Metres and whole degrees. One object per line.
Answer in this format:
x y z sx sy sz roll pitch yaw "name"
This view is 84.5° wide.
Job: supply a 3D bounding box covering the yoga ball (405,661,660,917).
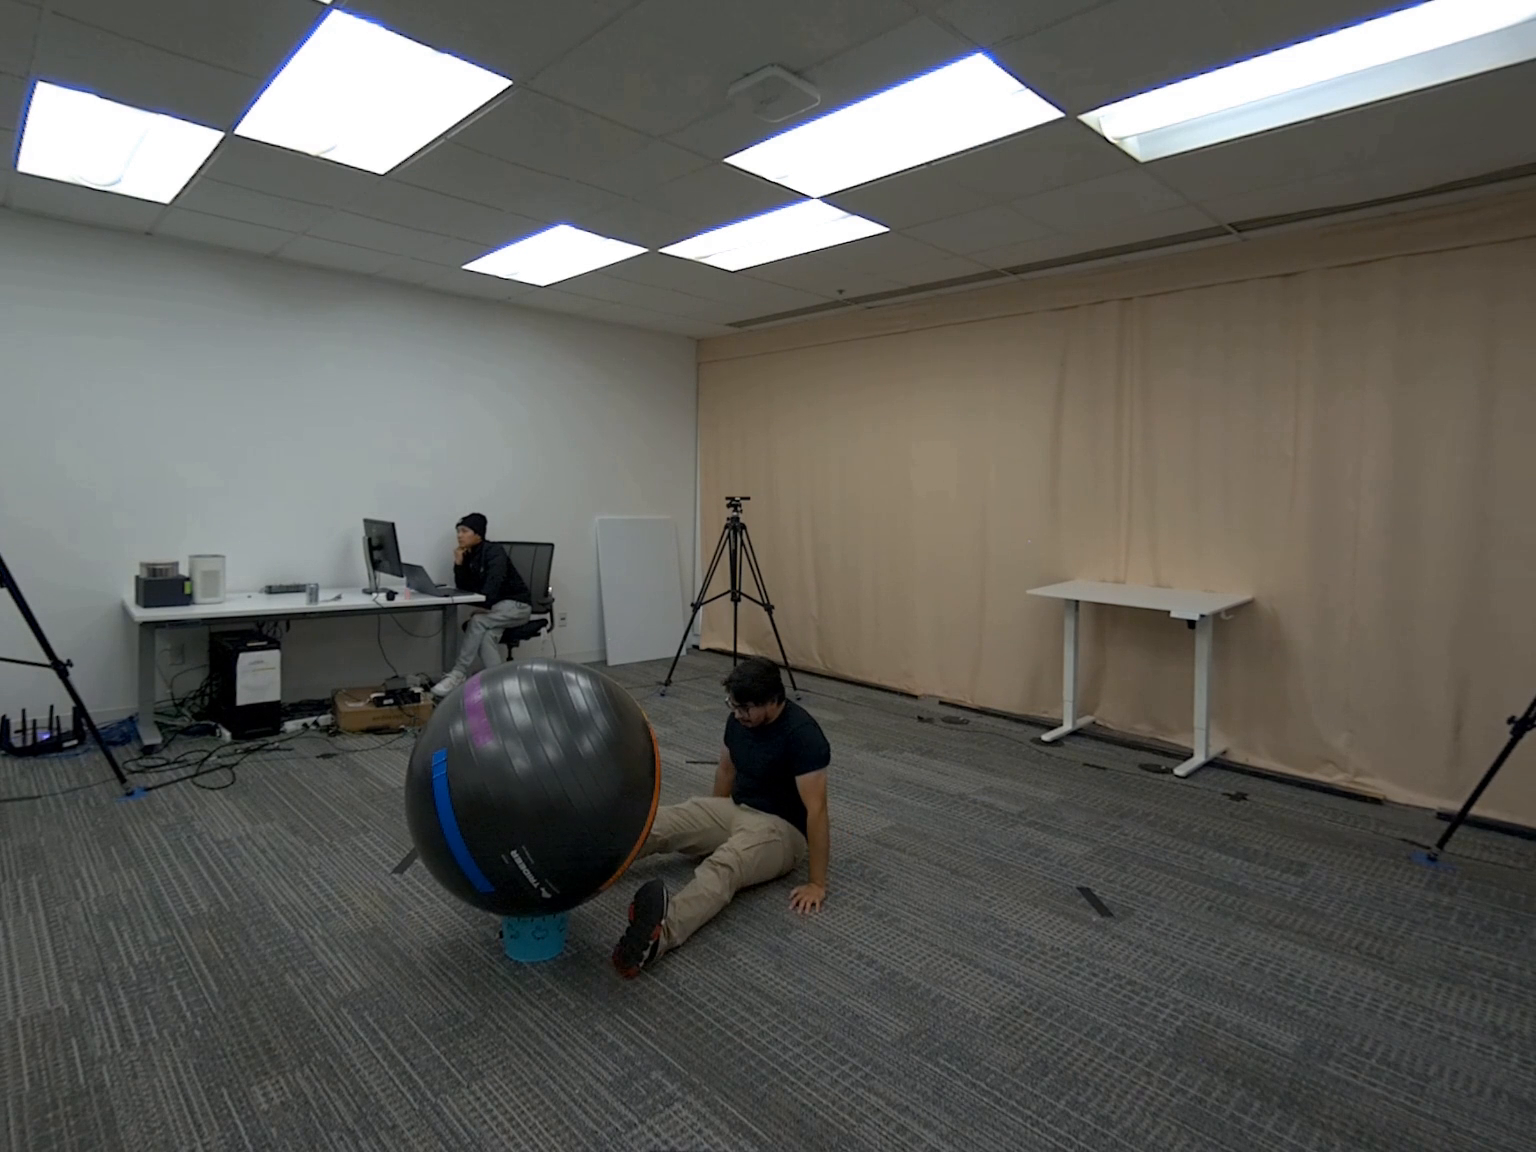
-0.713 0.637 2.567 0.757 0.756 0.761 1 4 -1 "yoga ball"
